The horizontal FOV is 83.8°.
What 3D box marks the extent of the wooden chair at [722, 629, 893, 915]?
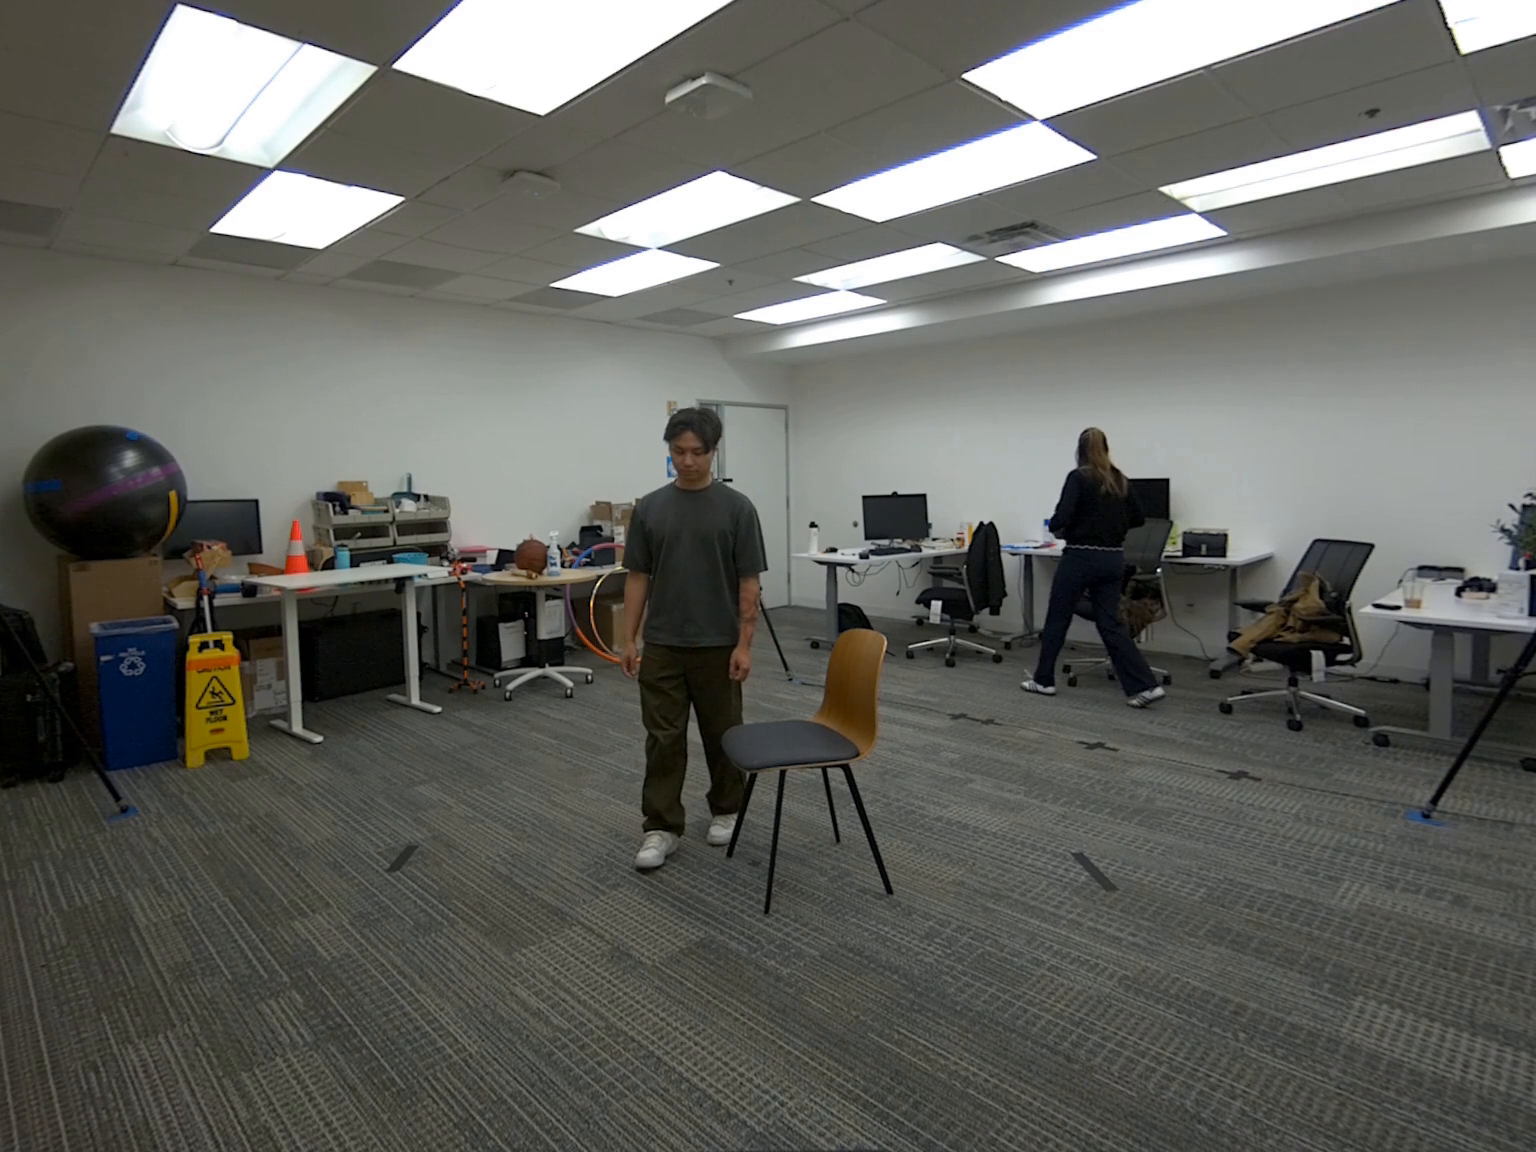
[{"bbox_3d":[0.123,0.627,2.971,0.515,0.875,0.487,2,3,-17],"label":"wooden chair"}]
